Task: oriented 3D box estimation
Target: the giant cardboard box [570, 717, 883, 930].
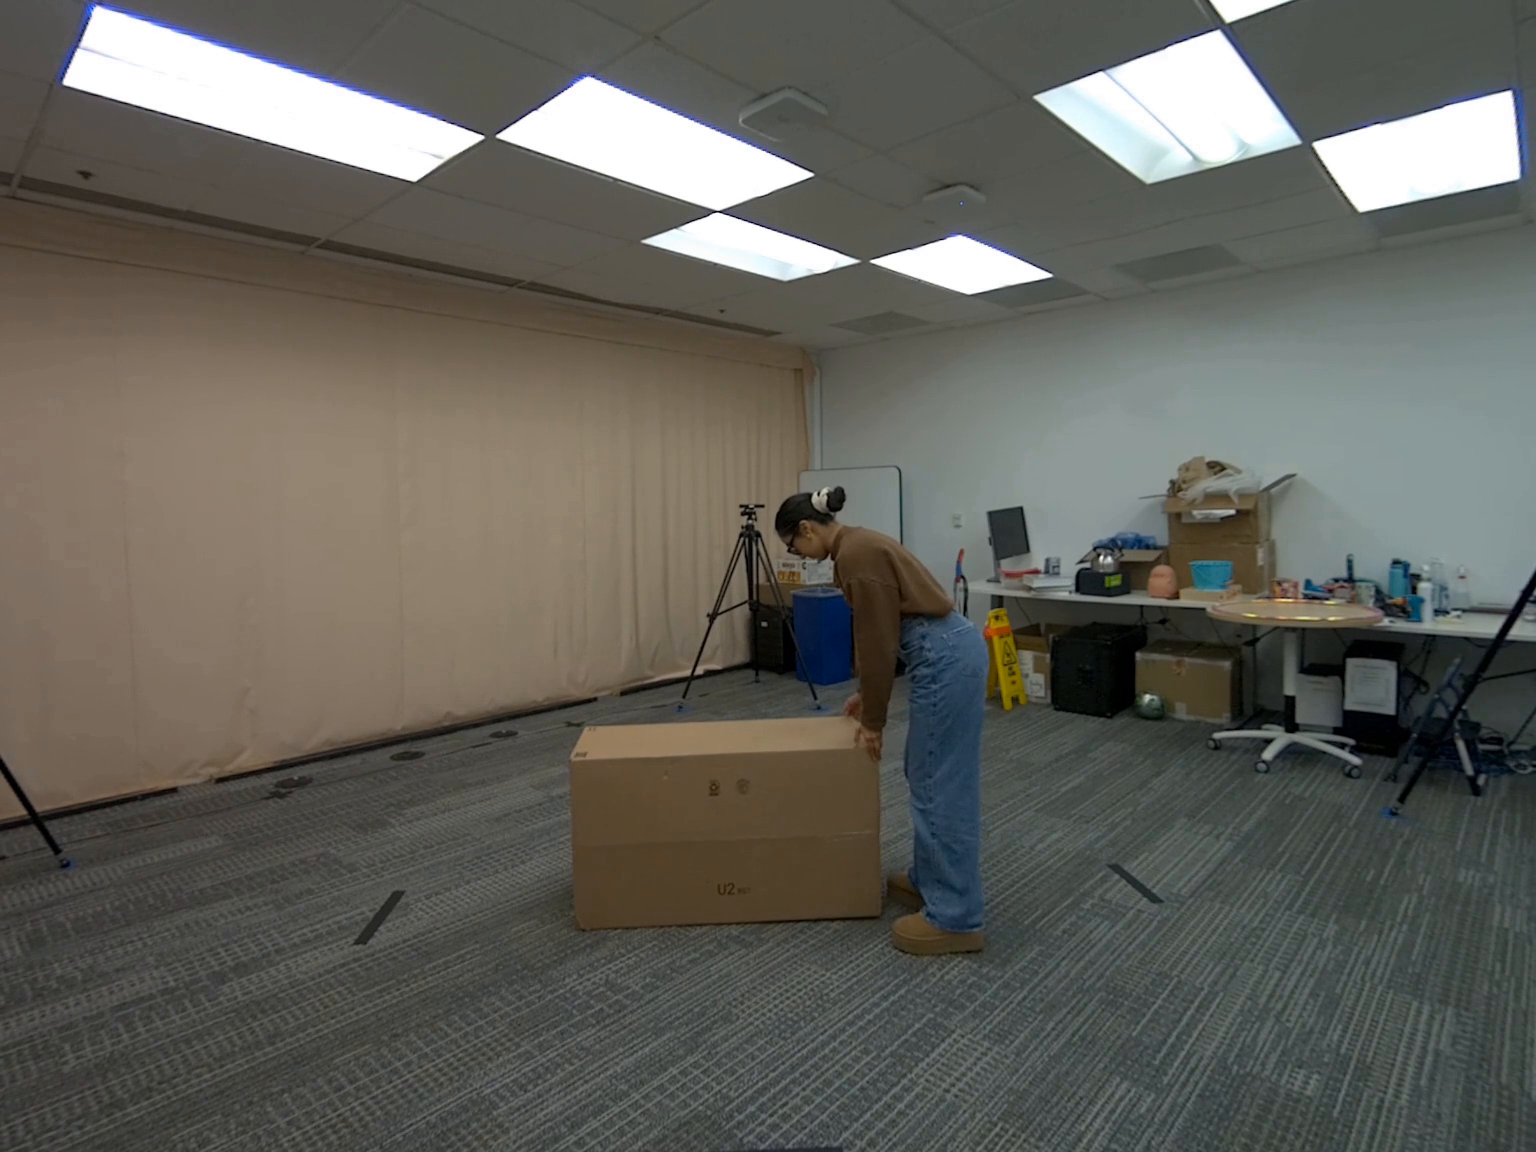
[{"bbox_3d":[-0.162,0.848,2.999,1.024,0.576,0.427,-2,3,-2],"label":"giant cardboard box"}]
